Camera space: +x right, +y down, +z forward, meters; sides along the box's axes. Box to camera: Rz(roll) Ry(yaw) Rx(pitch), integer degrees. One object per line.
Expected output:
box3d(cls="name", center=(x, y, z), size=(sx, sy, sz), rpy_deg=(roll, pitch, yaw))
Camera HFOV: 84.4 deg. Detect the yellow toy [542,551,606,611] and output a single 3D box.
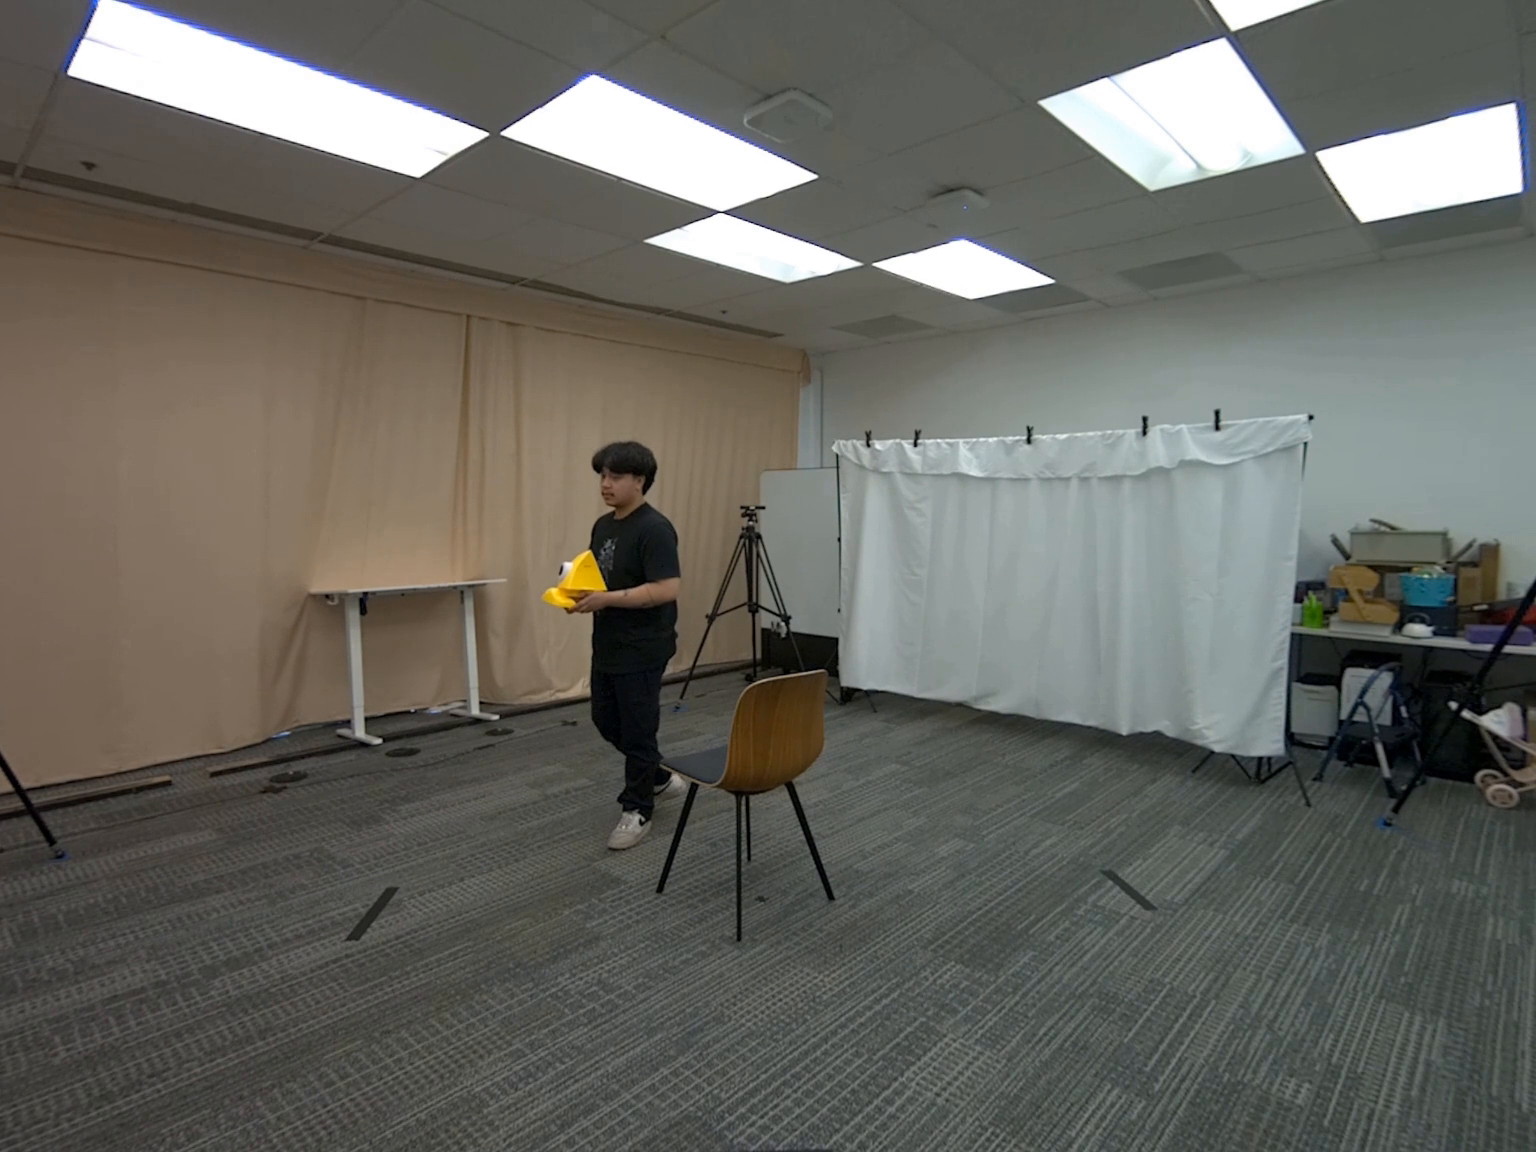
box3d(cls="yellow toy", center=(-0.760, -0.002, 3.339), size=(0.199, 0.230, 0.199), rpy_deg=(15, 7, 31))
